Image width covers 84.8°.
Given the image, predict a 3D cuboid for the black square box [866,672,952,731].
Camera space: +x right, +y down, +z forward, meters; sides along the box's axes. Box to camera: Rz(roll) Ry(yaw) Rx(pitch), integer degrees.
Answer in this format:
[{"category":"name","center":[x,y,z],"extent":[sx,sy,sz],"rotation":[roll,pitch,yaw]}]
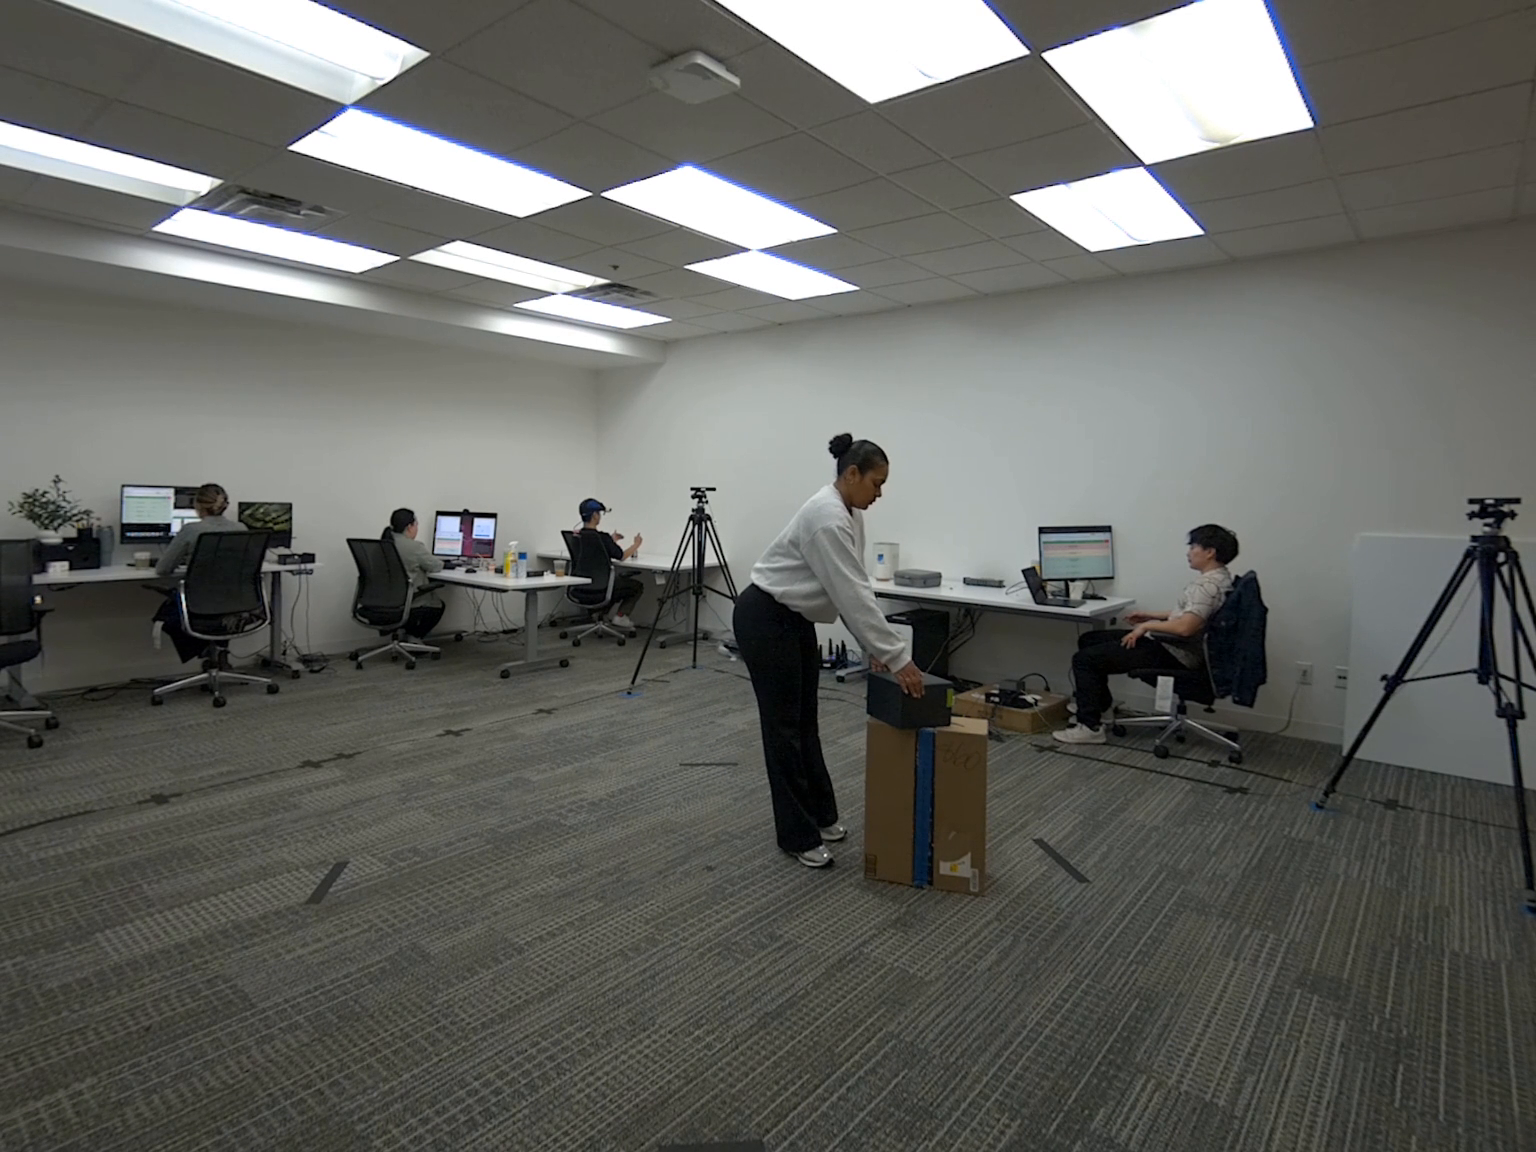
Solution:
[{"category":"black square box","center":[0.500,0.435,3.078],"extent":[0.212,0.155,0.234],"rotation":[0,5,-23]}]
